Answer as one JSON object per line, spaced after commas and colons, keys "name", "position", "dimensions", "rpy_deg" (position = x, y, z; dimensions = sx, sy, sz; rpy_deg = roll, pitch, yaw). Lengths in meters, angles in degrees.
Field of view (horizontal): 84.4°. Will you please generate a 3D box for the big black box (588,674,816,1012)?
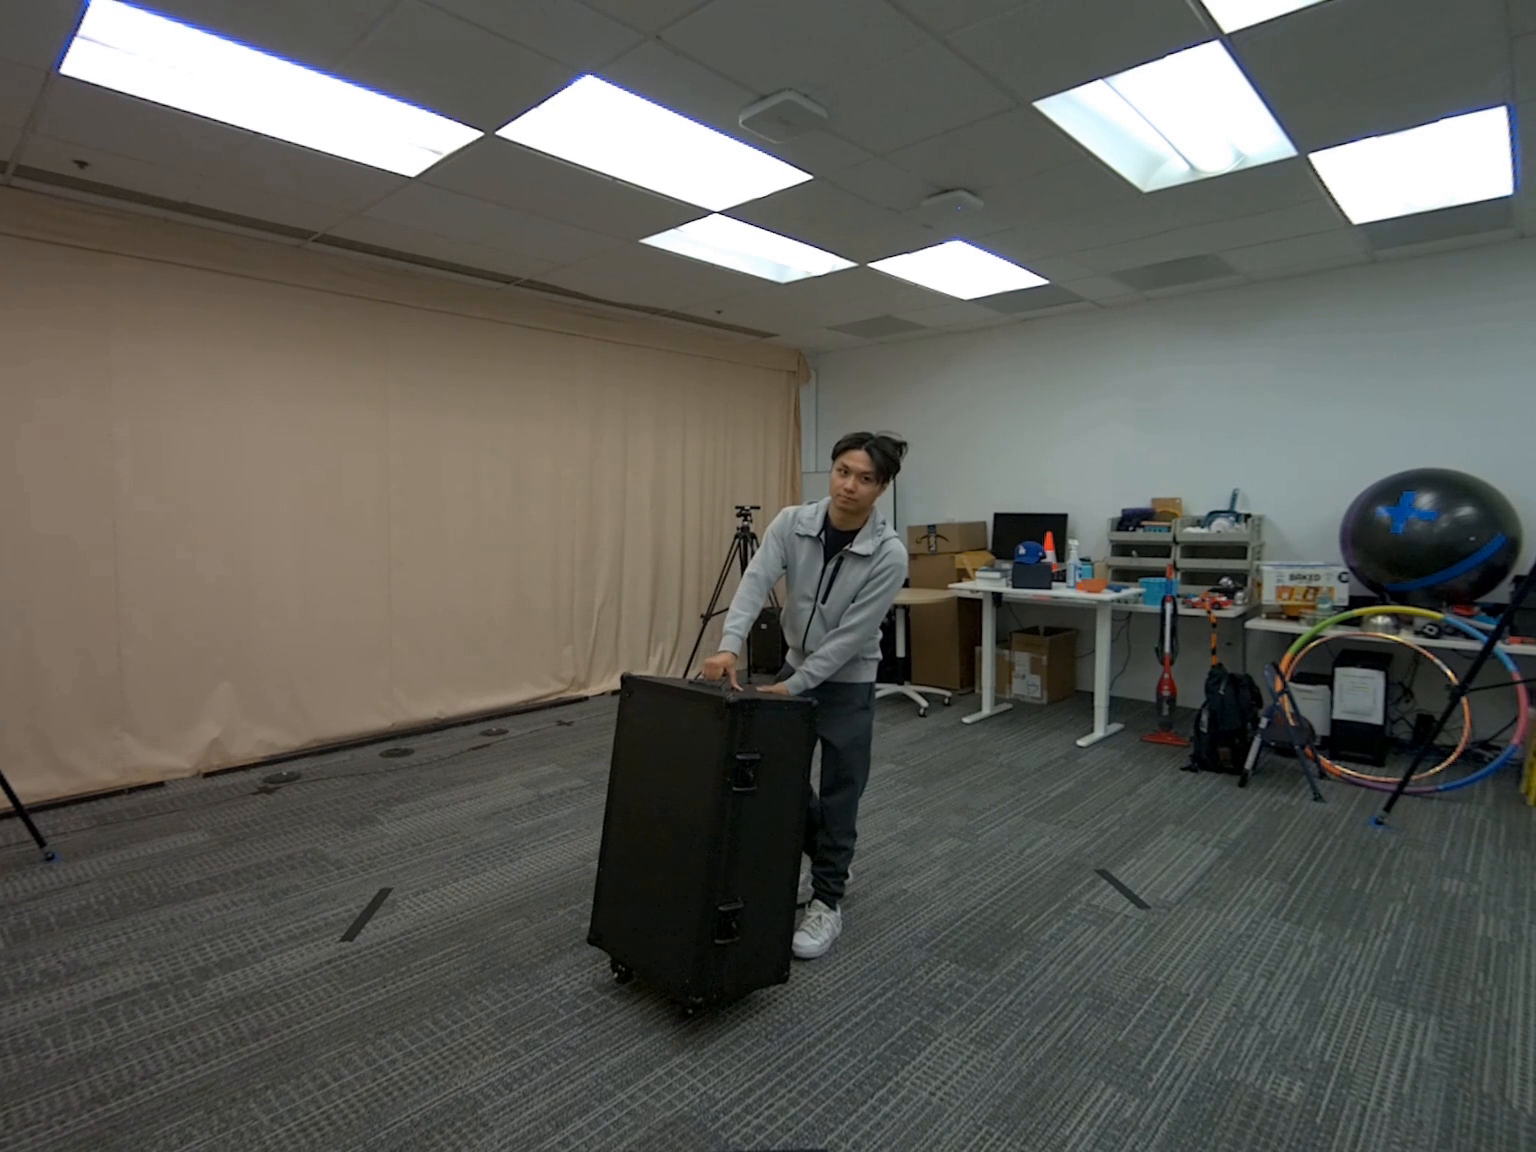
{"name": "big black box", "position": [-0.190, 0.753, 2.442], "dimensions": [0.538, 0.864, 0.382], "rpy_deg": [2, -8, 44]}
